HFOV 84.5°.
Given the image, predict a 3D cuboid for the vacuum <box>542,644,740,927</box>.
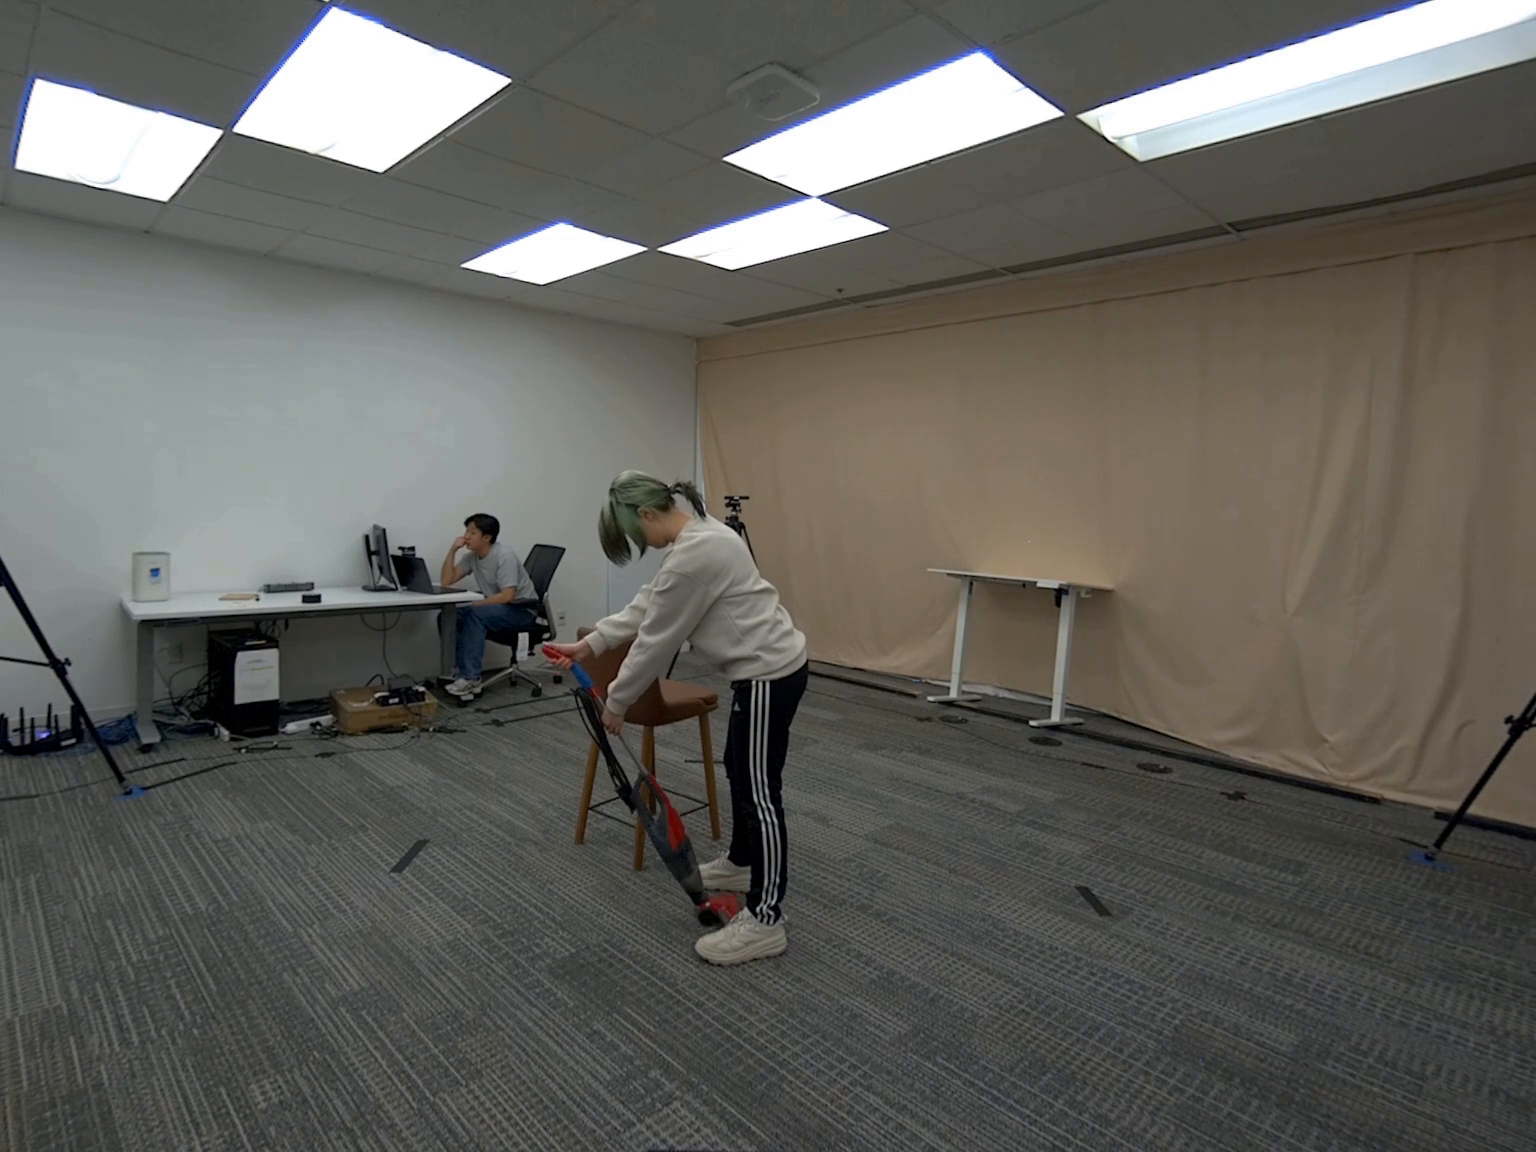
[{"bbox_3d":[-0.457,0.675,2.762,0.143,1.045,0.254,-34,3,-9],"label":"vacuum"}]
